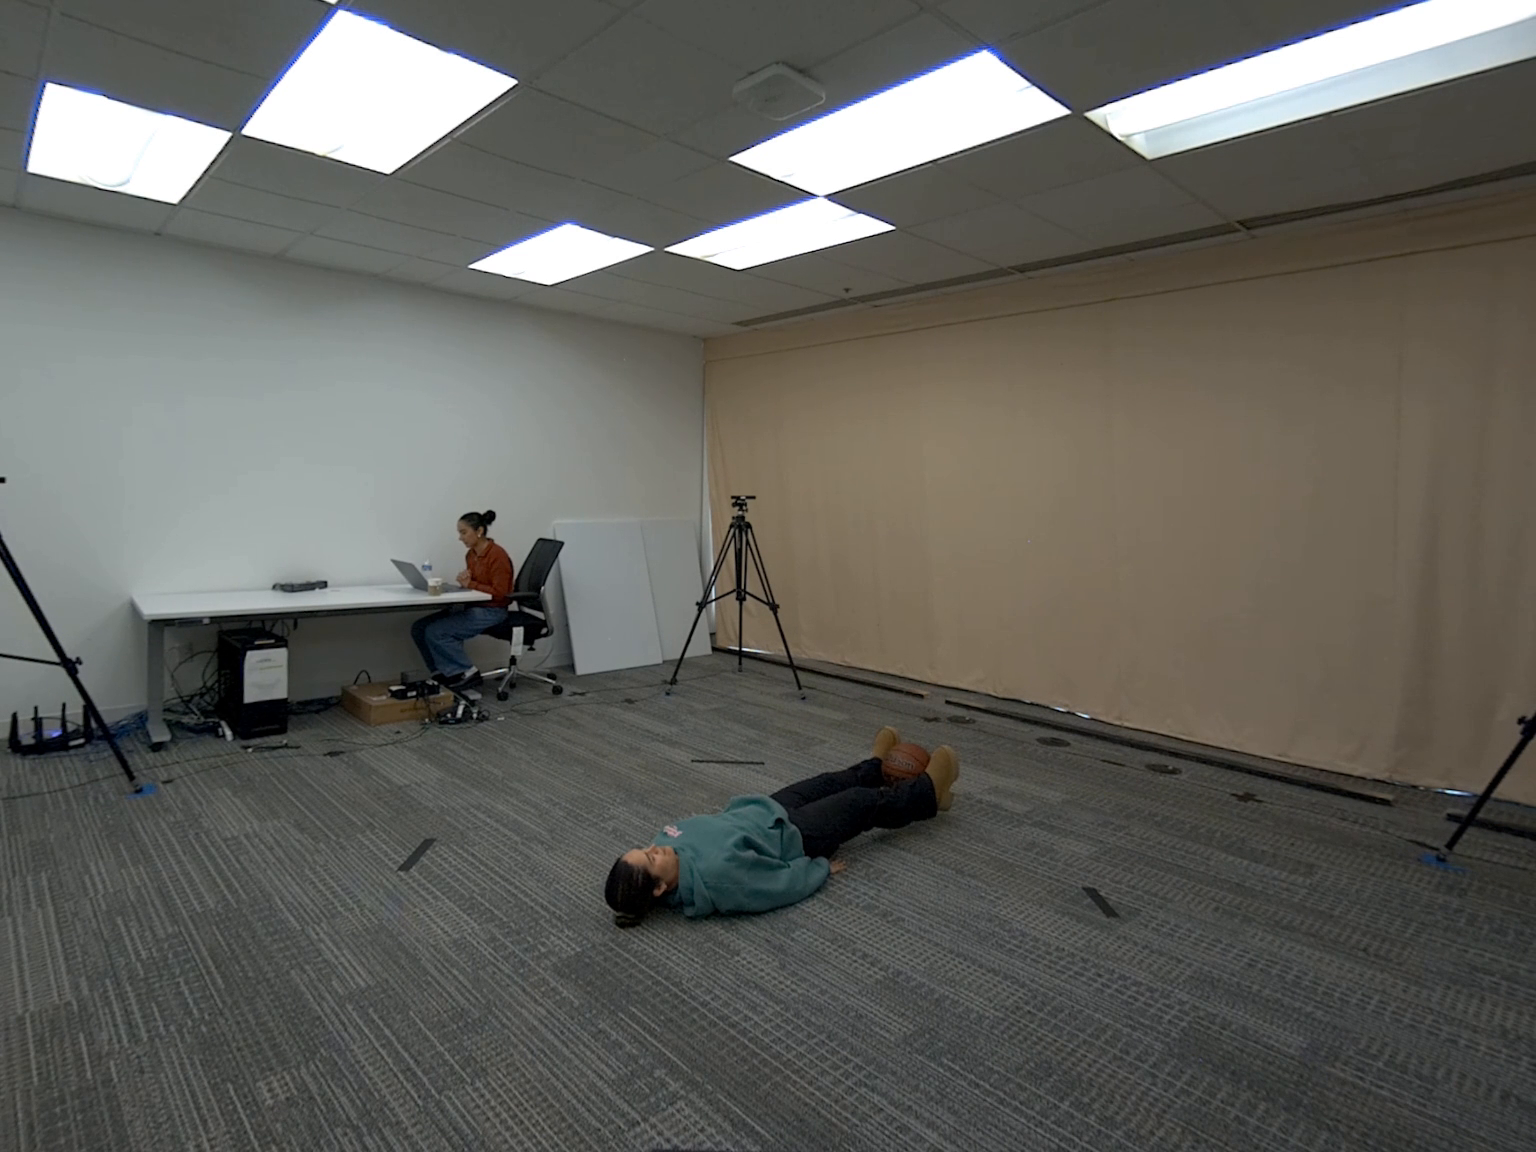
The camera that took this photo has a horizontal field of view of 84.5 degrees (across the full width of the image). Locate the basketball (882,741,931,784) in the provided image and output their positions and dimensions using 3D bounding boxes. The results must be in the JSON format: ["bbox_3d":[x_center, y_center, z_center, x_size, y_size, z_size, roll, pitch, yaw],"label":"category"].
[{"bbox_3d":[0.616,0.864,3.762,0.236,0.235,0.237,1,5,-1],"label":"basketball"}]
